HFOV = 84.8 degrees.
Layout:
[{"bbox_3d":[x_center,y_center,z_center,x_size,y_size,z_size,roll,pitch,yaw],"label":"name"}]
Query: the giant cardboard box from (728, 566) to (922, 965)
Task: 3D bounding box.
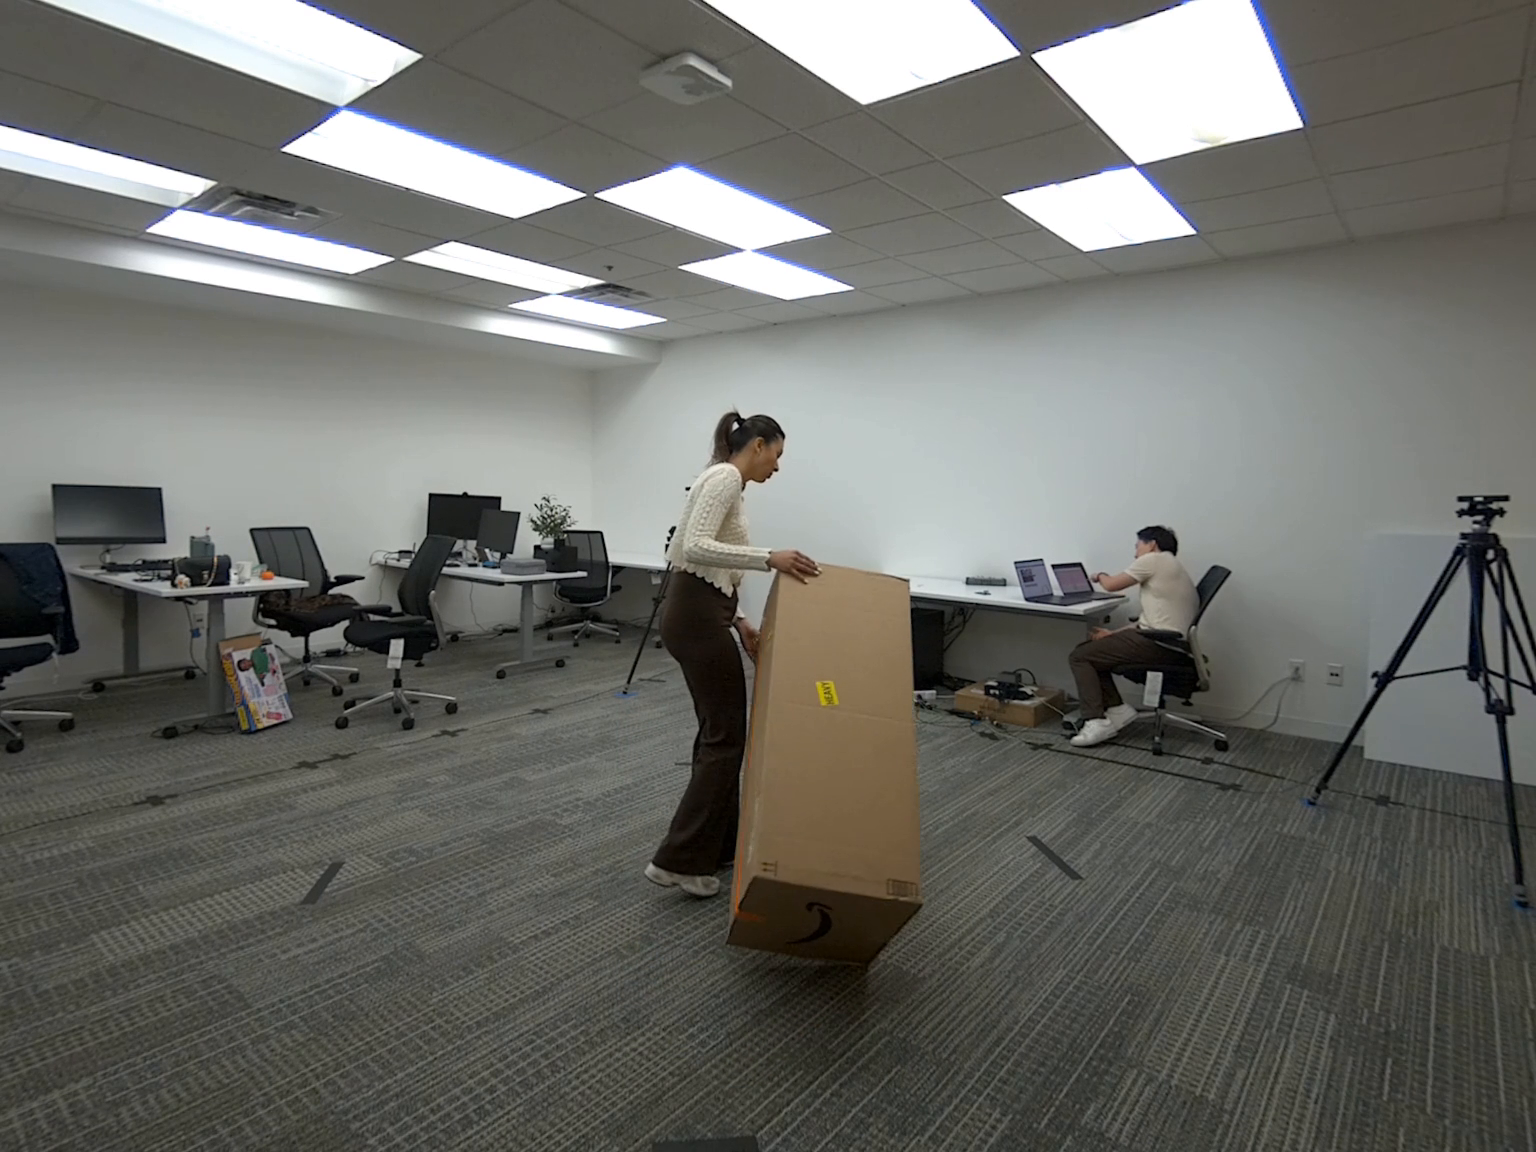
[{"bbox_3d":[0.167,0.547,2.610,0.425,1.051,0.565,9,-40,-3],"label":"giant cardboard box"}]
